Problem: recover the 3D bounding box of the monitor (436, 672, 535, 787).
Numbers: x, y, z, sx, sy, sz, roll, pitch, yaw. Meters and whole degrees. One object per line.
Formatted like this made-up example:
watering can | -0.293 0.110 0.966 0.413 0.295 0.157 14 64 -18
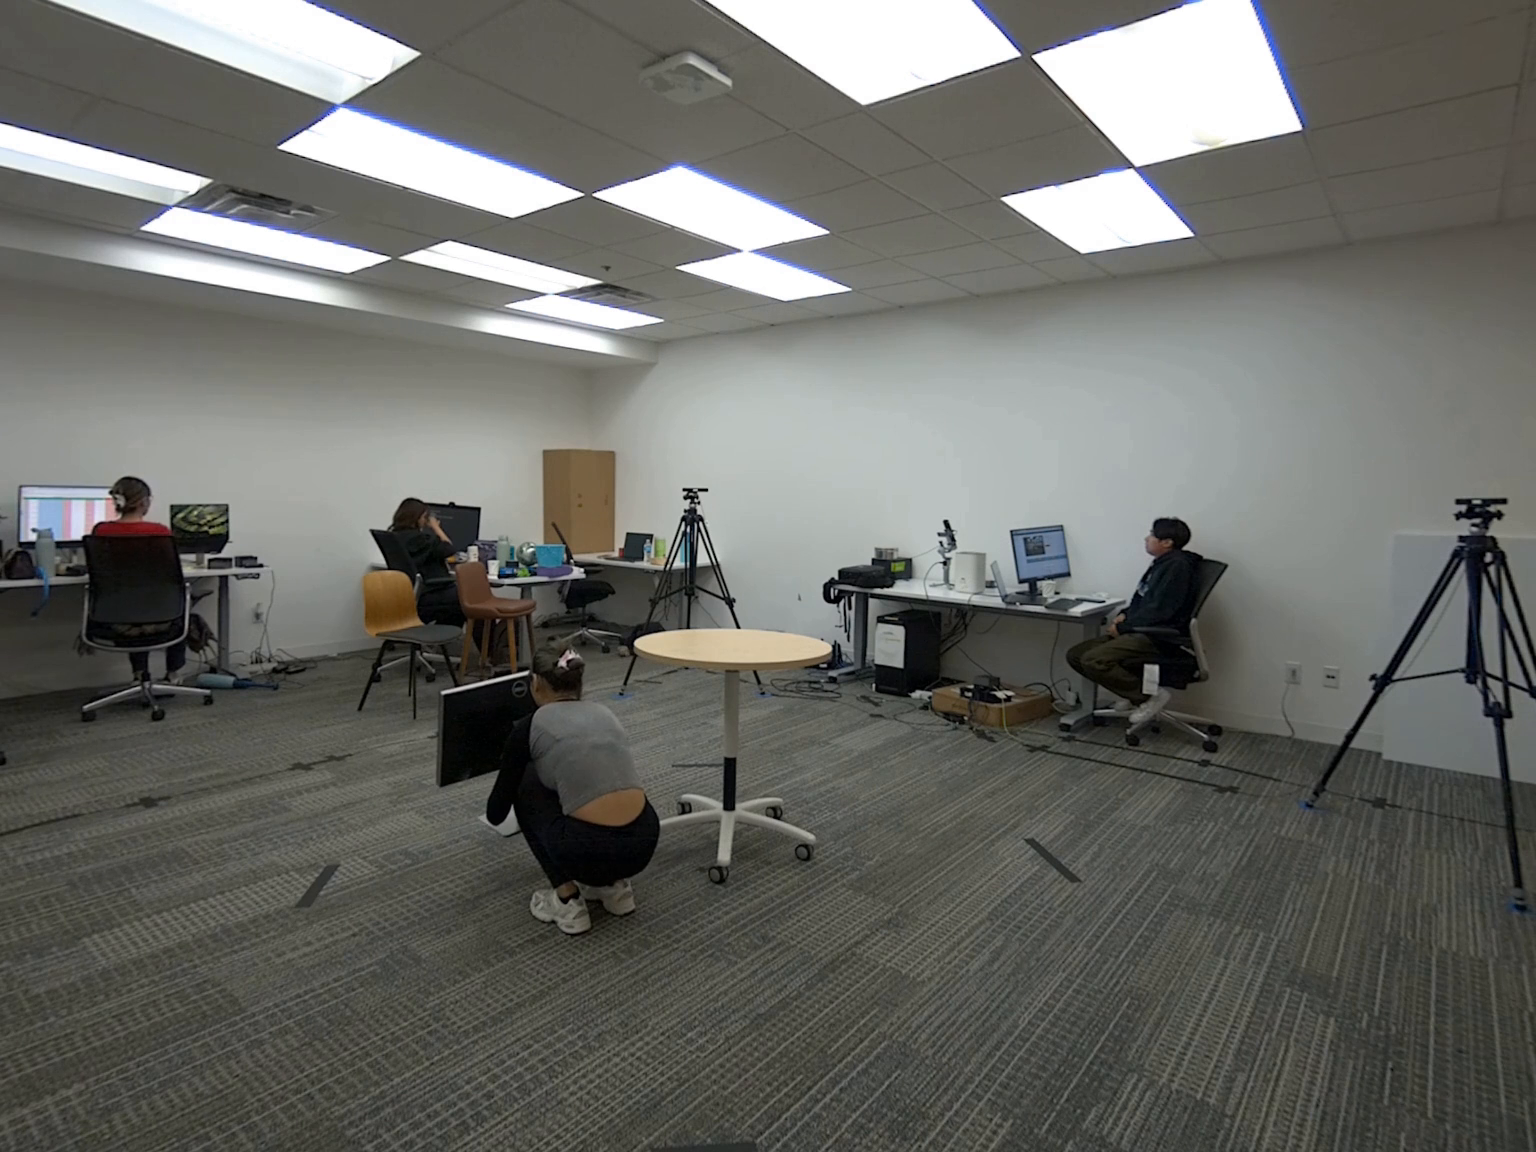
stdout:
monitor | -0.919 0.623 3.060 0.194 0.519 0.524 7 11 43
